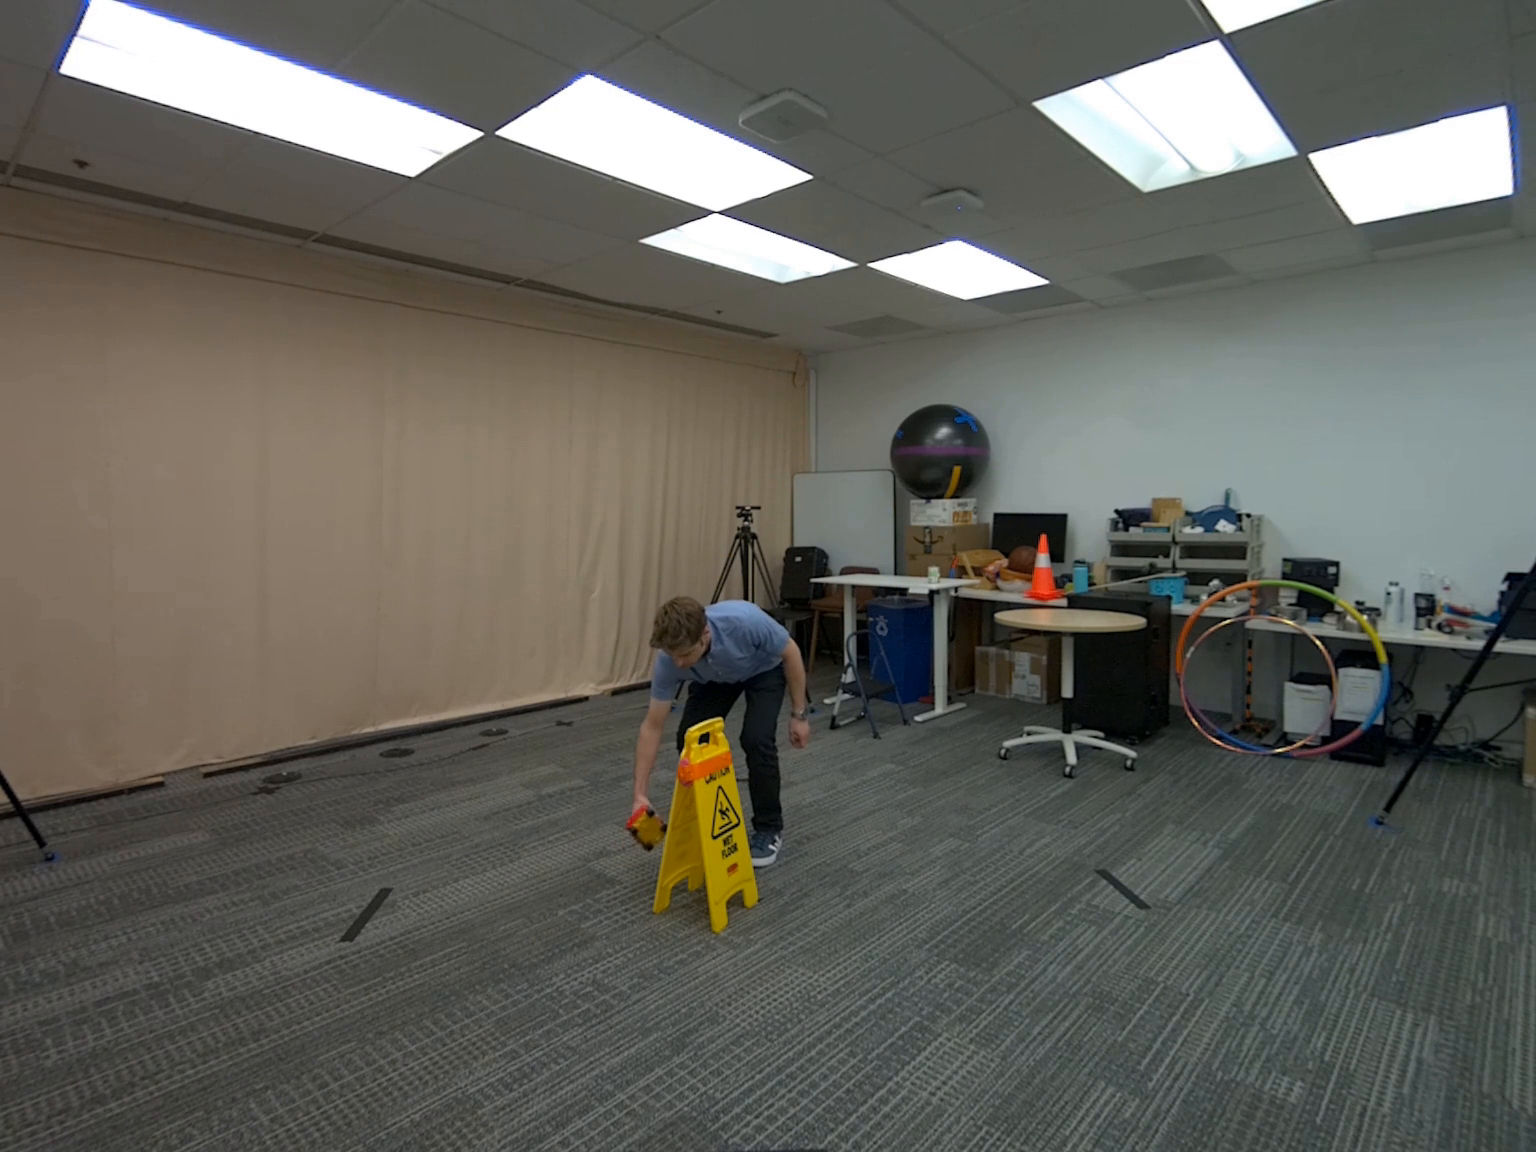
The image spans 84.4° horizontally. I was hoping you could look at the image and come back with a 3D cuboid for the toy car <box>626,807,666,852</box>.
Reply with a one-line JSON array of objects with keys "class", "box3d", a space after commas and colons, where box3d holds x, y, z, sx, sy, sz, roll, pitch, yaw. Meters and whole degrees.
[{"class": "toy car", "box3d": [-0.445, 0.933, 3.117, 0.085, 0.129, 0.249, 32, -24, 23]}]
